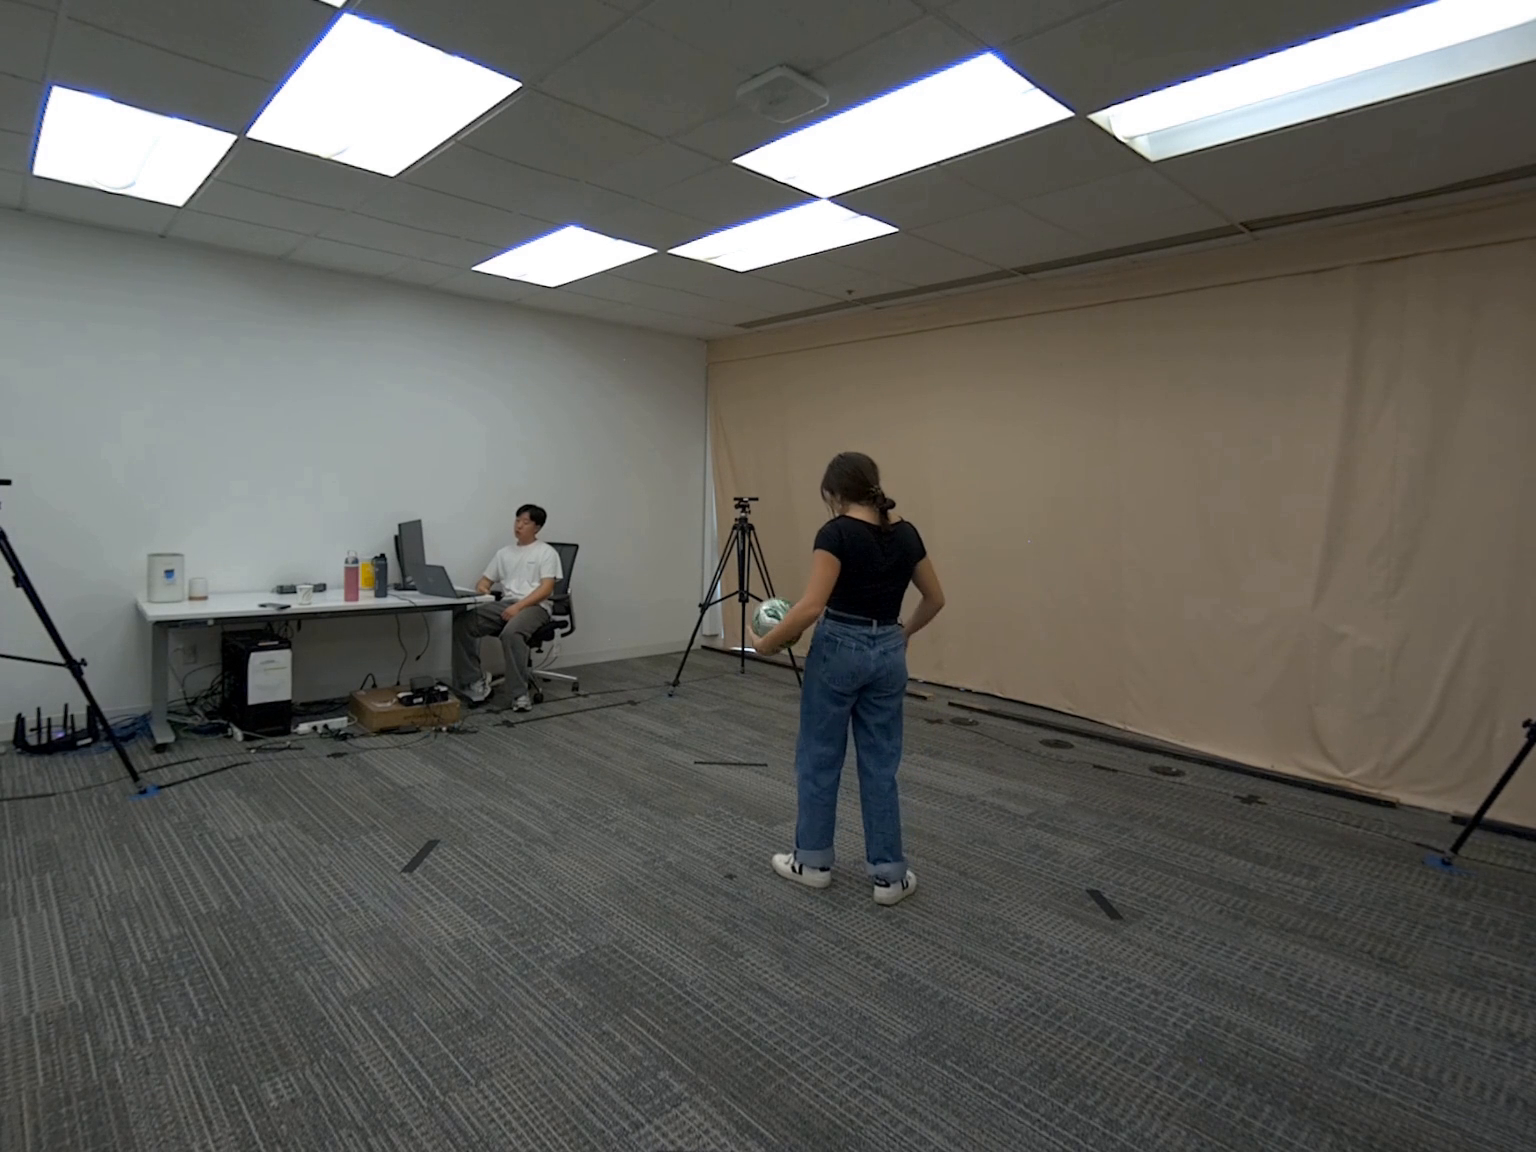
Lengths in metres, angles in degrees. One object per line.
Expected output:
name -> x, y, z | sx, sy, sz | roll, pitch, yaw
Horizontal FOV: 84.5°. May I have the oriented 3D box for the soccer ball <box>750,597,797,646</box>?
soccer ball -> 0.062, 0.170, 2.979 | 0.187, 0.187, 0.188 | 1, 4, -1
